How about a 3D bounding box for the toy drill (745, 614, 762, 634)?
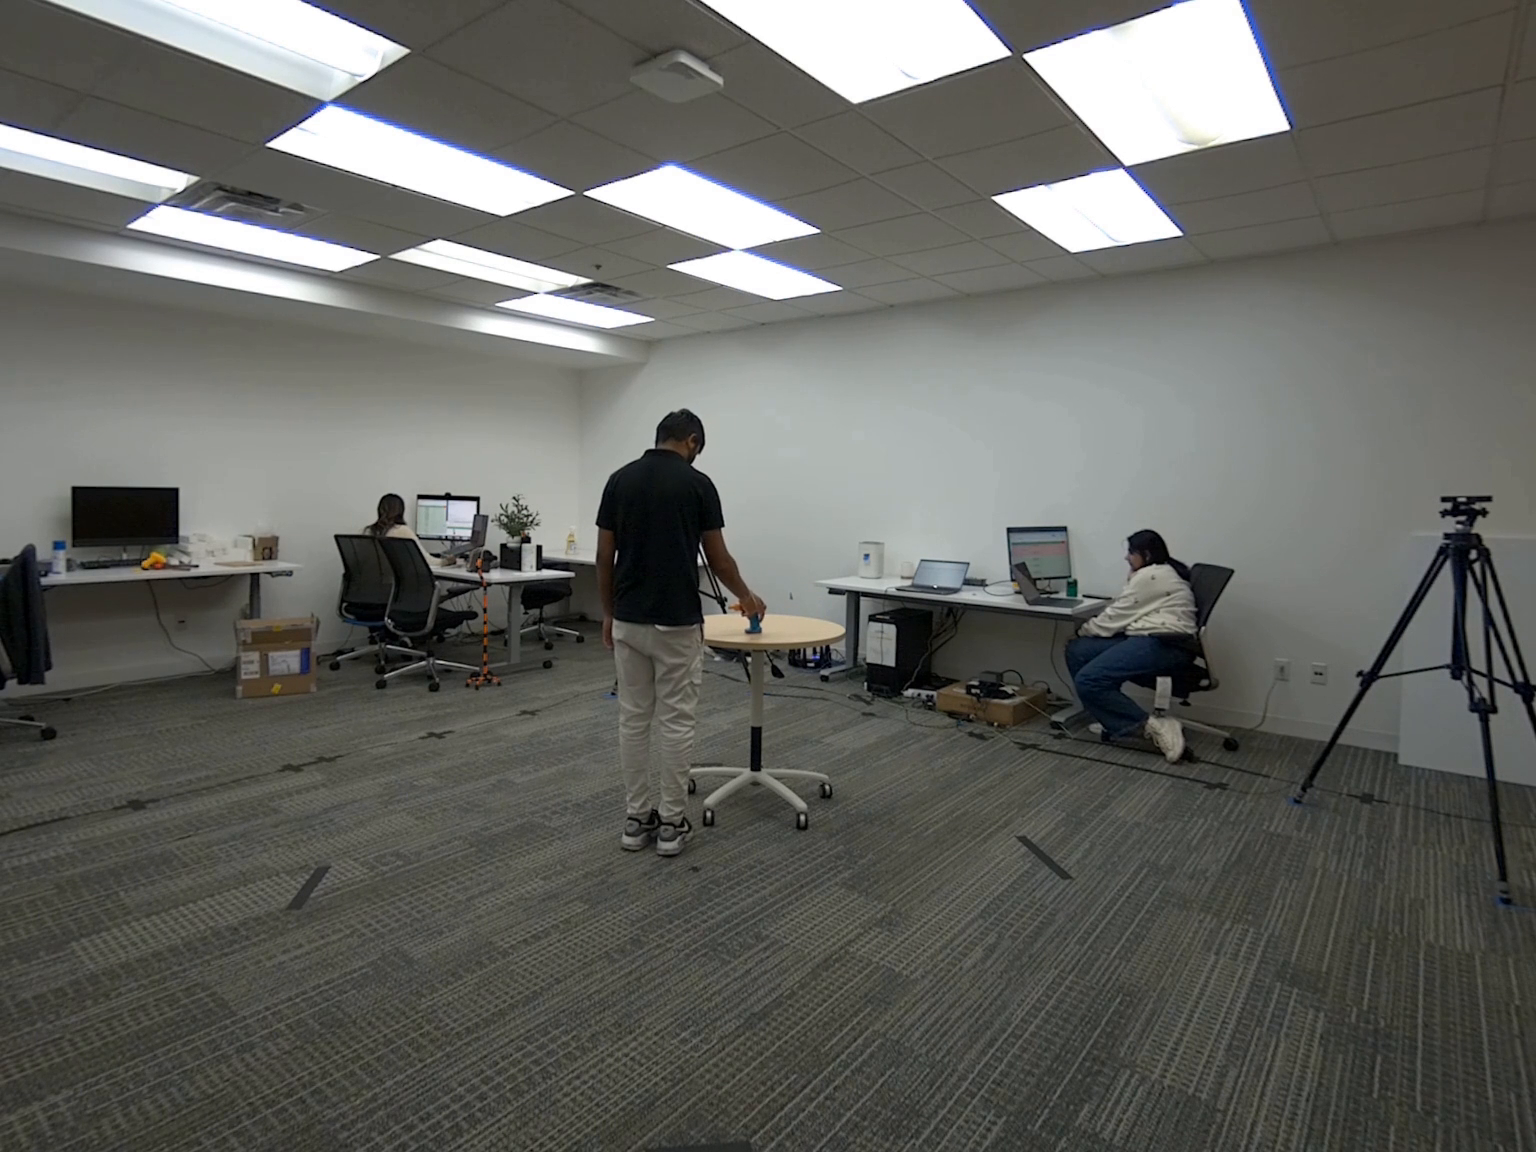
[{"bbox_3d":[-0.103,0.166,3.598,0.167,0.145,0.062,-2,5,-19],"label":"toy drill"}]
